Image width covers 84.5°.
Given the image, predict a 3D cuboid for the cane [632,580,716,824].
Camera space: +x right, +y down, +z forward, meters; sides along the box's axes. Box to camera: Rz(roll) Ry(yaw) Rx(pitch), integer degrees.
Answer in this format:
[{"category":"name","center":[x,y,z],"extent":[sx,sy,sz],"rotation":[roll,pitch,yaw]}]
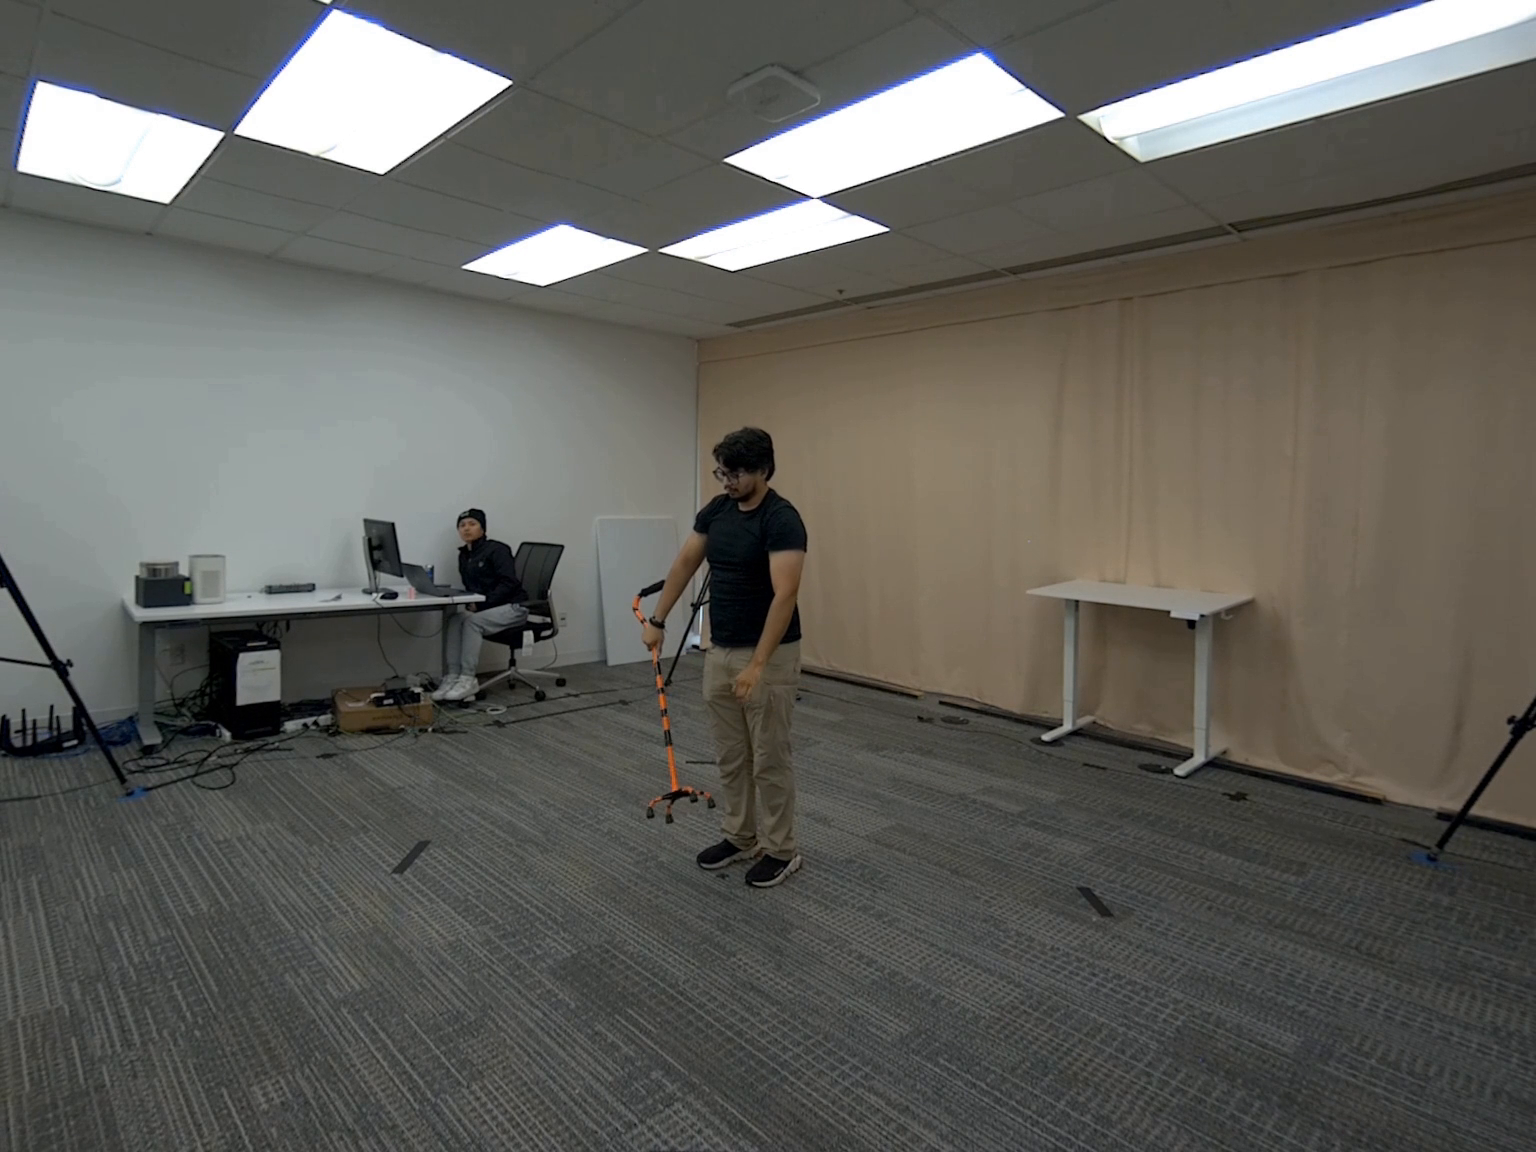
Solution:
[{"category":"cane","center":[-0.395,0.442,3.158],"extent":[0.208,0.930,0.147],"rotation":[-26,-34,19]}]
